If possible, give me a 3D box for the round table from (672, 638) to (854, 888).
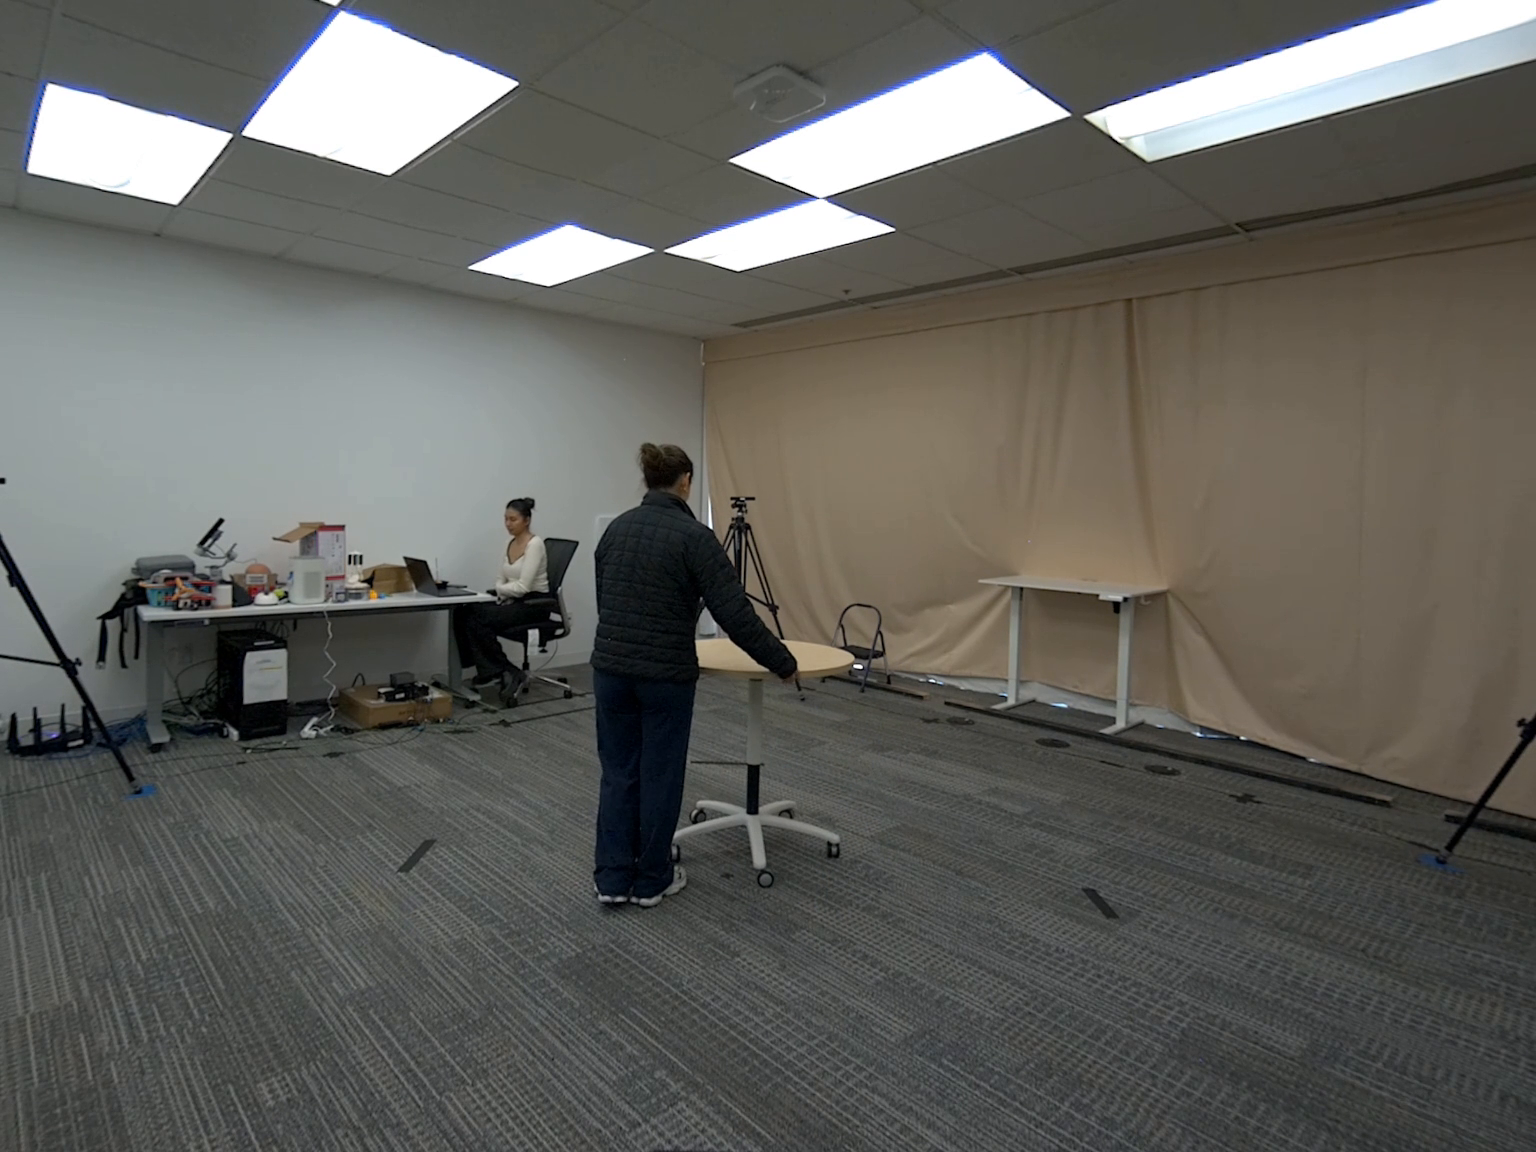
[{"bbox_3d":[-0.048,0.694,3.342,0.784,0.784,0.788,2,4,-1],"label":"round table"}]
